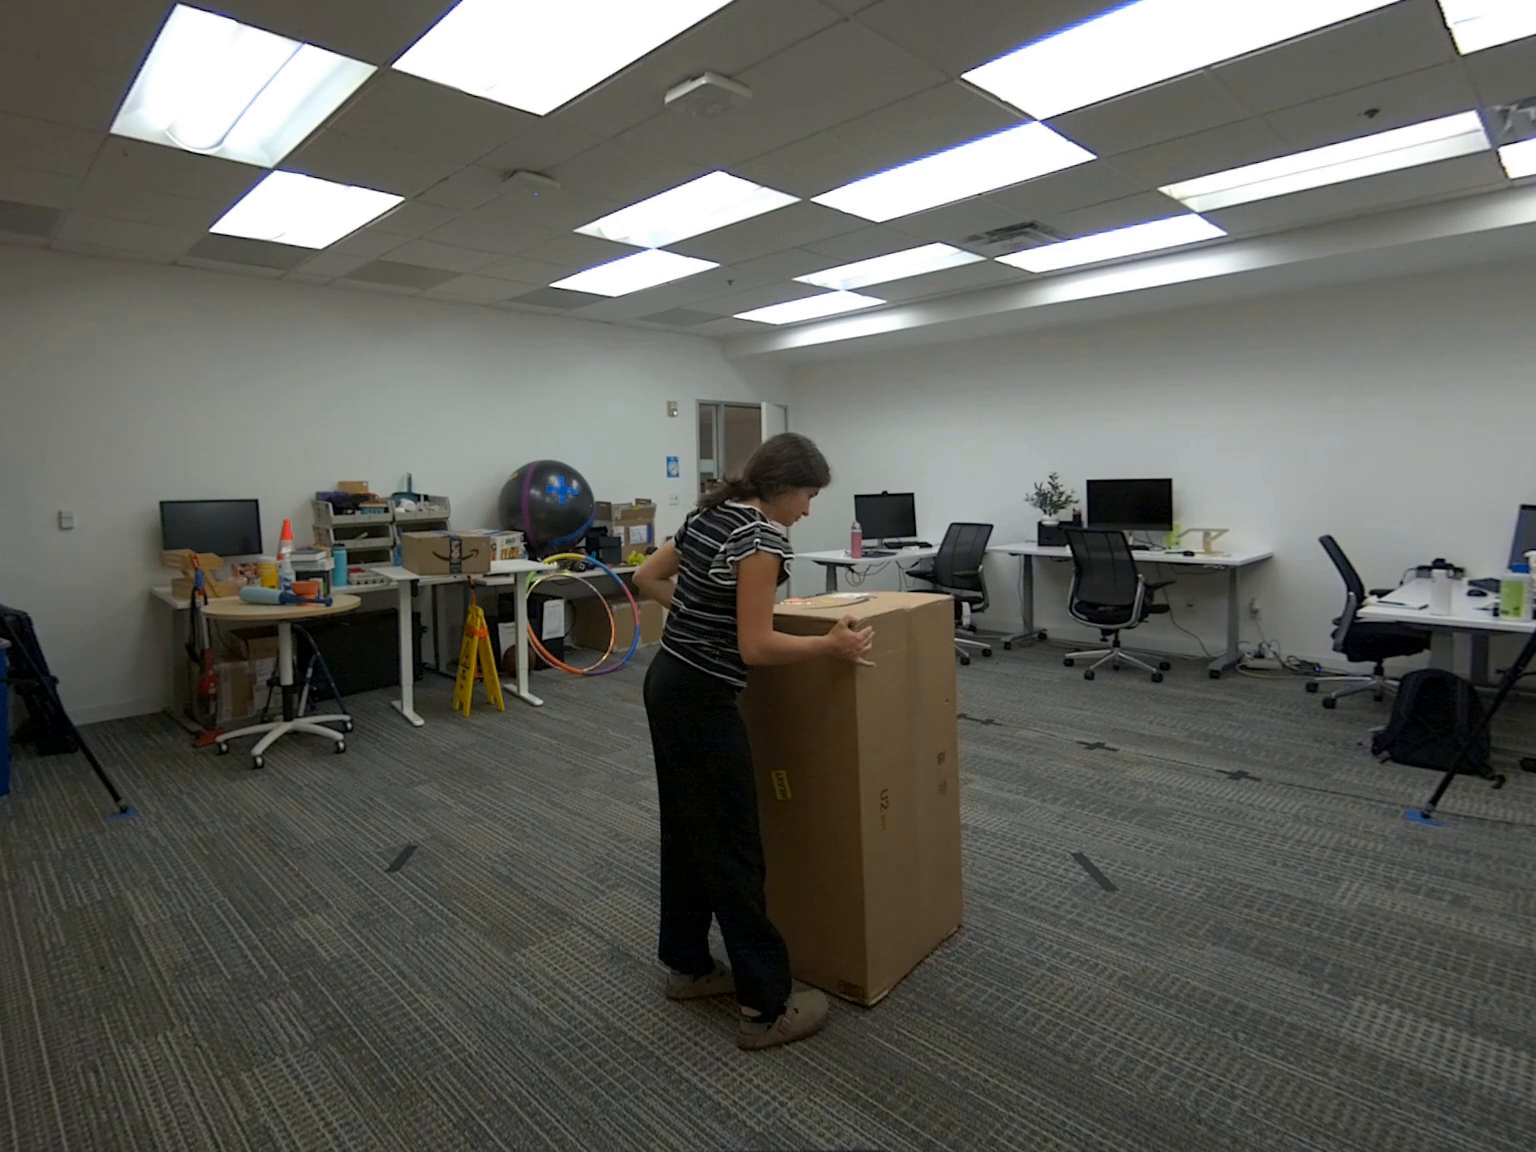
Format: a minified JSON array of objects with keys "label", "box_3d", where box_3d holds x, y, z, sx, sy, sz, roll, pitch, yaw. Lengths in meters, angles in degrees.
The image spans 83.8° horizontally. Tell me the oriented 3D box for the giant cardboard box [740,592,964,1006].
[{"label":"giant cardboard box","box_3d":[0.257,0.594,2.564,0.438,1.023,0.563,0,4,40]}]
